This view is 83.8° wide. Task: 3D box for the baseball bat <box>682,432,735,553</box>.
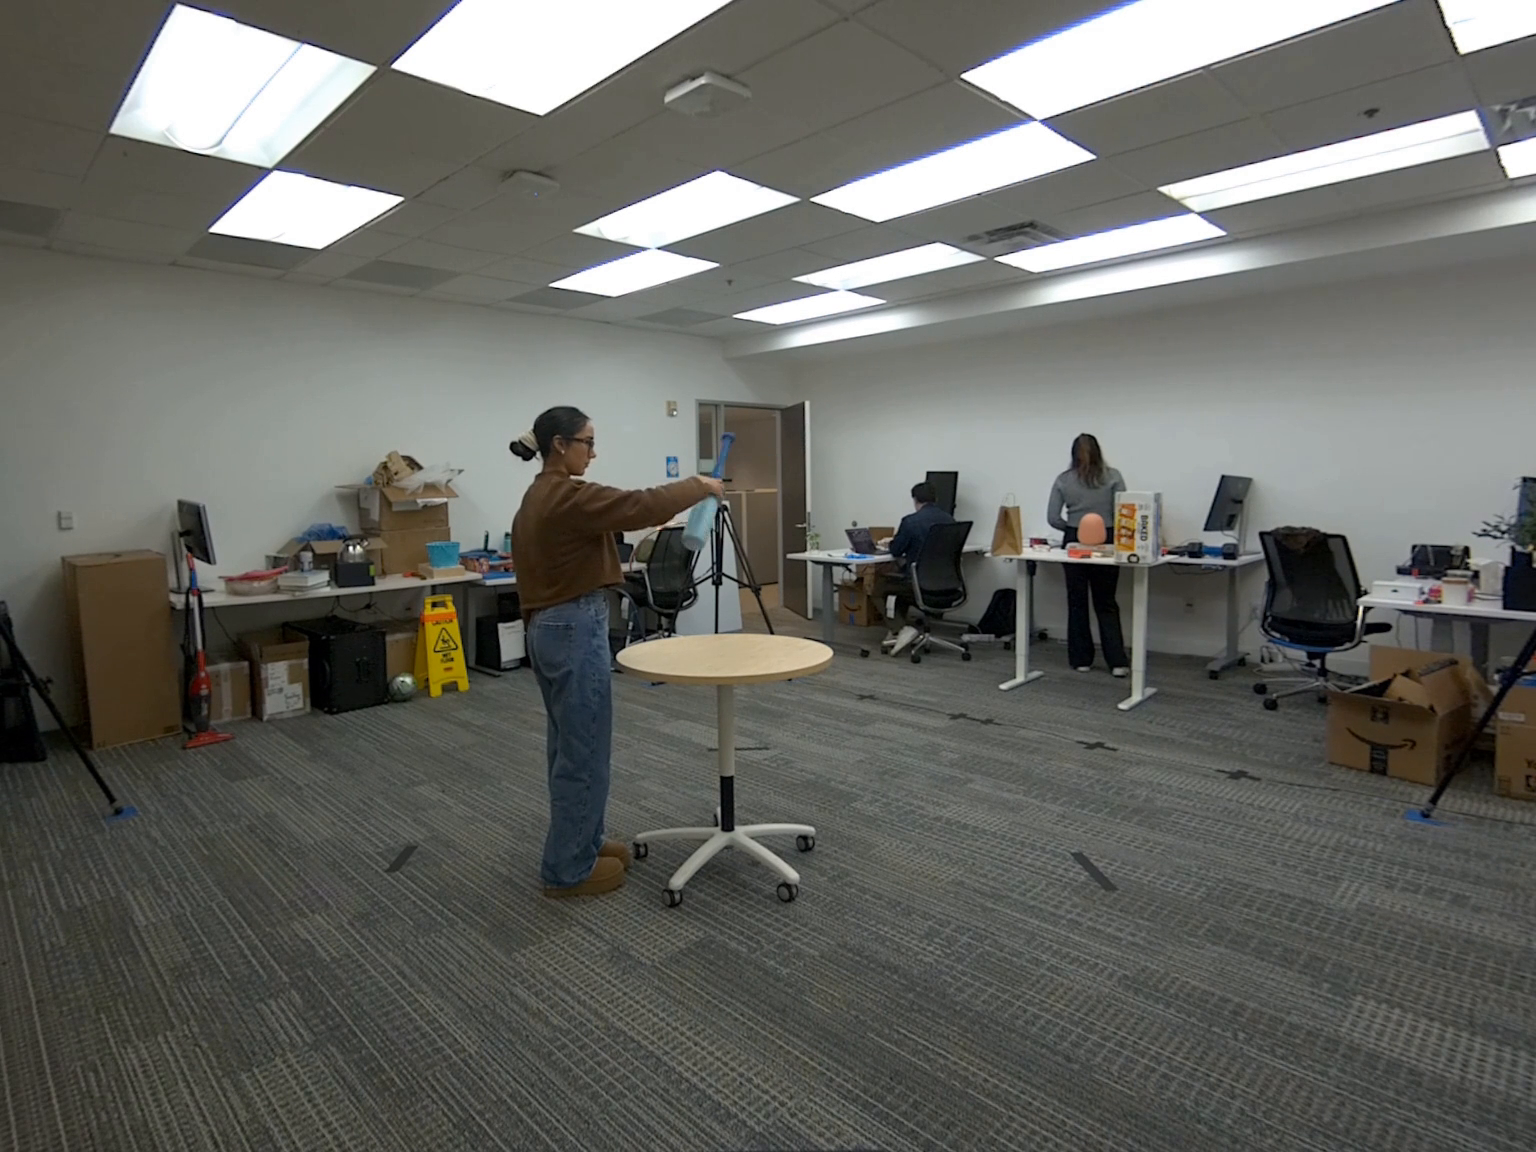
[{"bbox_3d":[-0.196,-0.316,3.071,0.090,0.553,0.087,9,-38,5],"label":"baseball bat"}]
